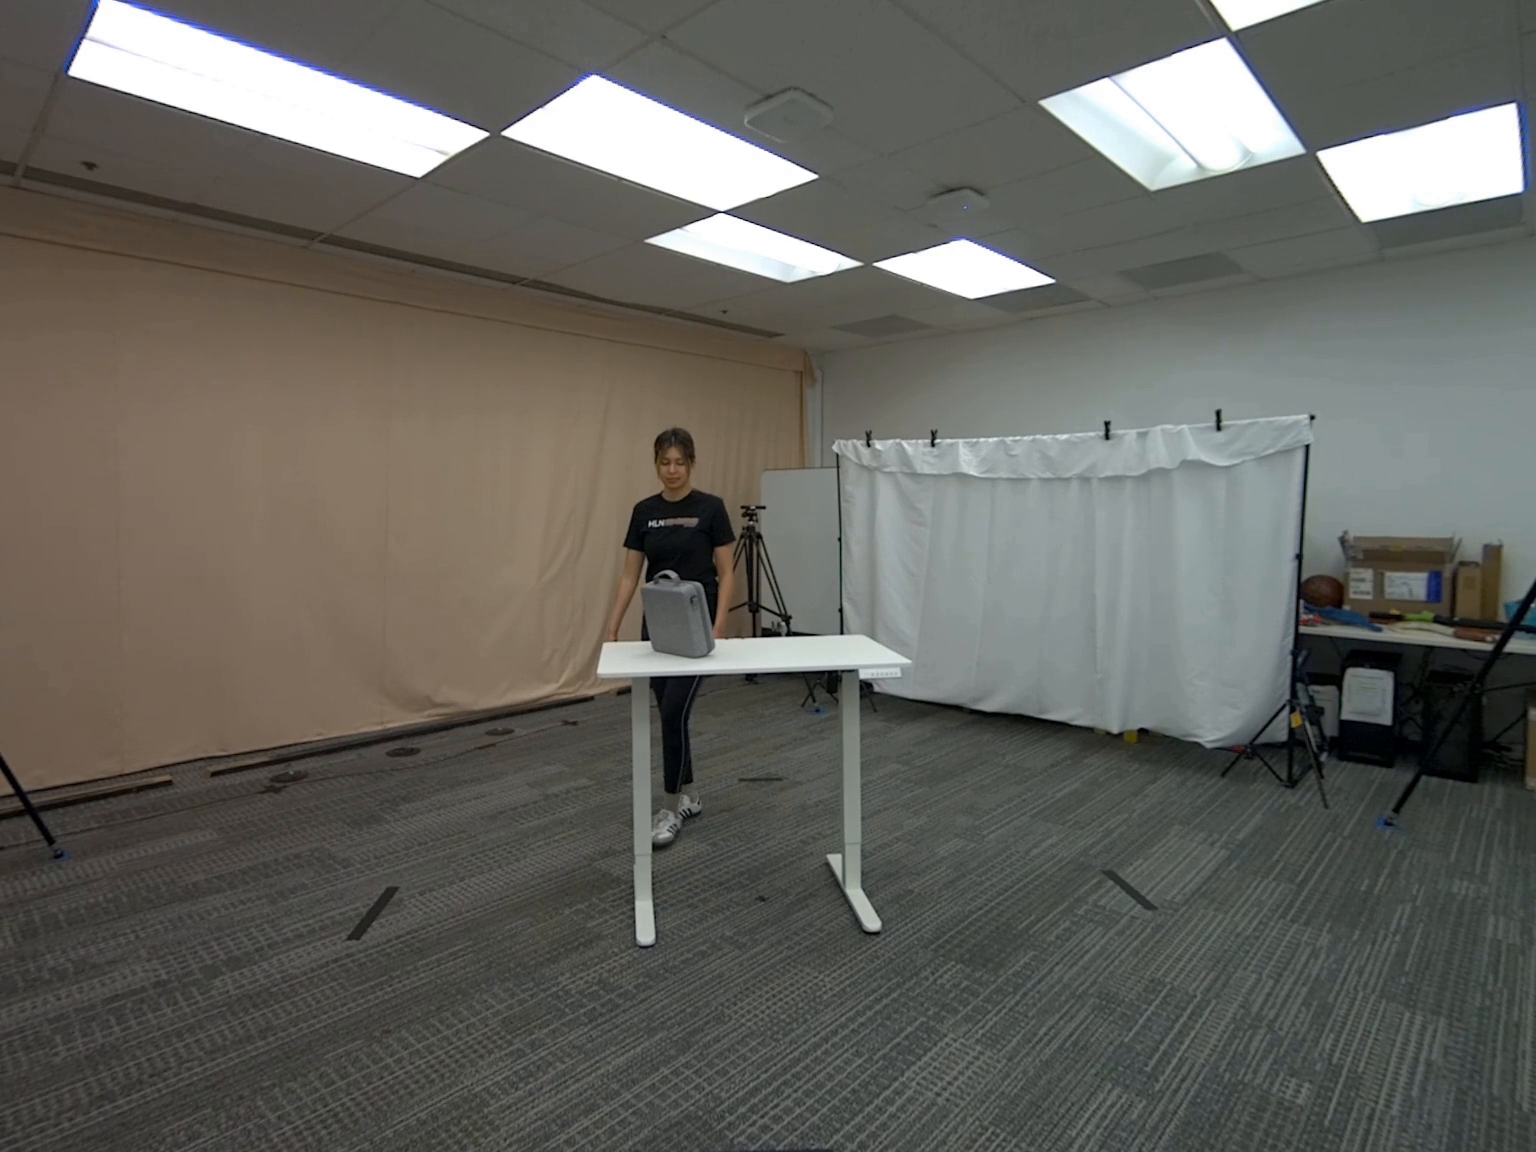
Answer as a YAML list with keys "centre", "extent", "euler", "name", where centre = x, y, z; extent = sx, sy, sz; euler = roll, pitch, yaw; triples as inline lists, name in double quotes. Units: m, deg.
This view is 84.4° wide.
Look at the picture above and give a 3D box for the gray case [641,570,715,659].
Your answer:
- centre: [-0.312, 0.141, 2.900]
  extent: [0.102, 0.258, 0.265]
  euler: [-18, 14, -41]
  name: "gray case"
